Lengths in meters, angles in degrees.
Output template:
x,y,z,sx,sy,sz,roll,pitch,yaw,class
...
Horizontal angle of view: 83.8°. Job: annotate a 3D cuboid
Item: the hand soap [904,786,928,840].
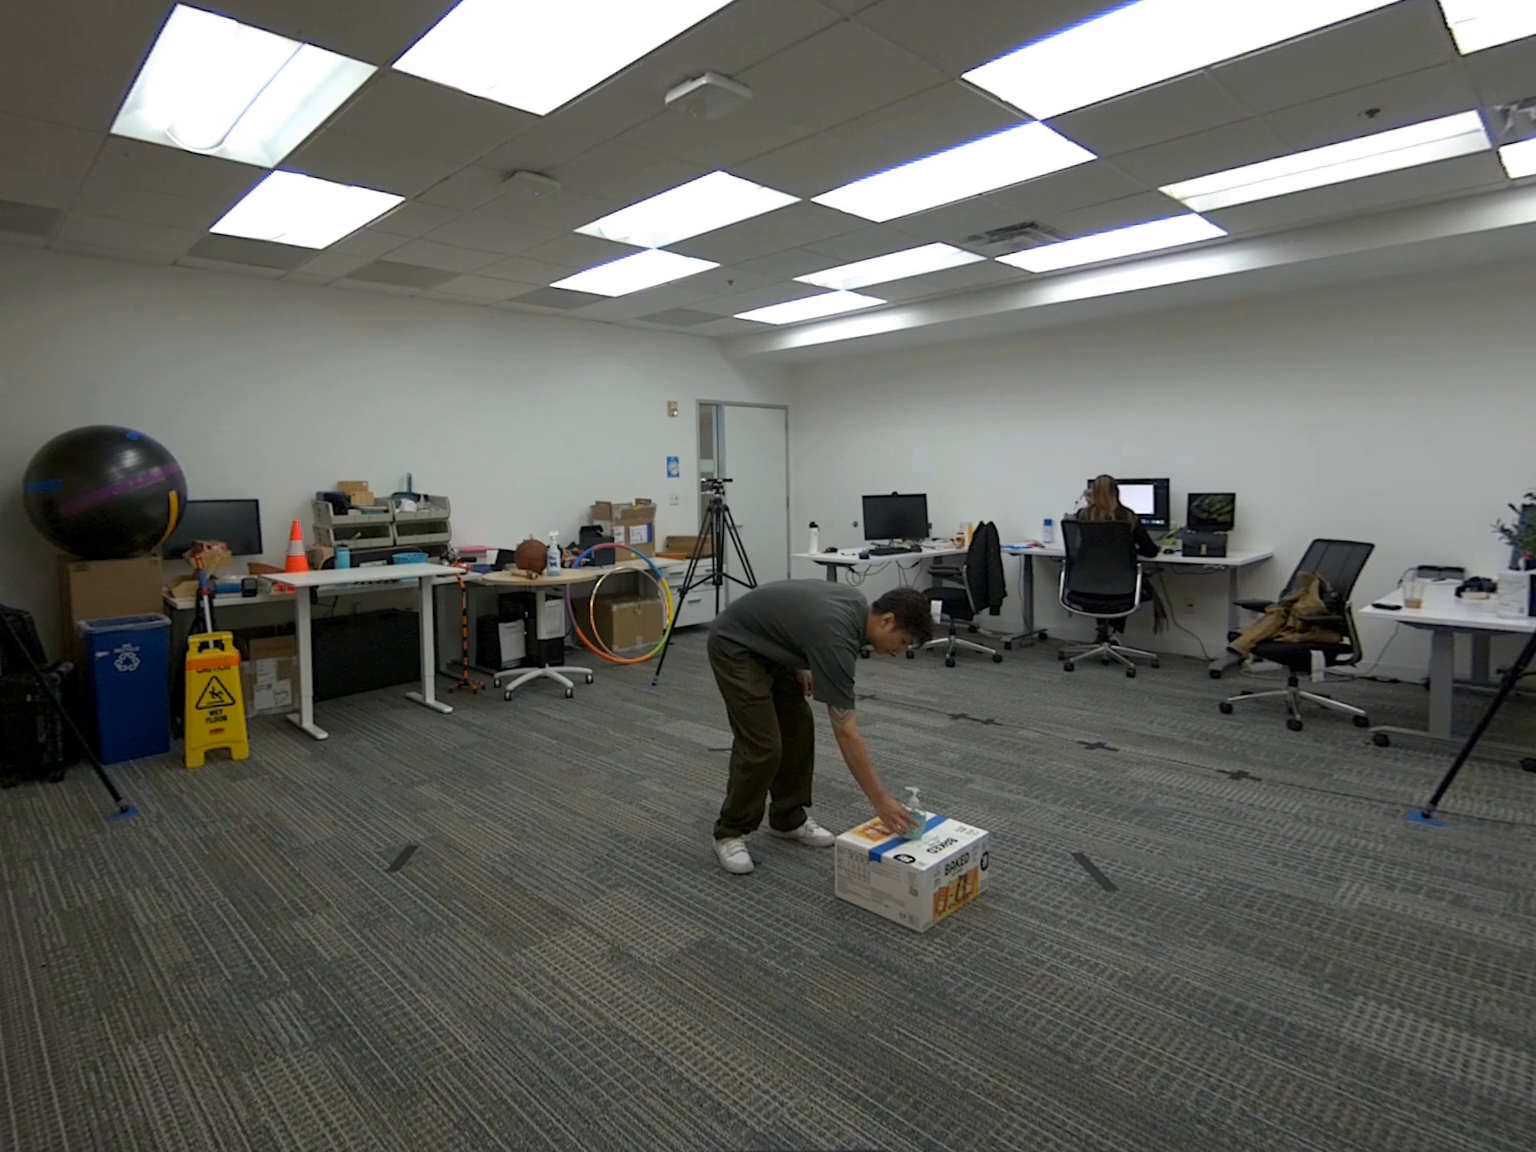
x,y,z,sx,sy,sz,roll,pitch,yaw,class
0.480,0.783,2.829,0.085,0.167,0.043,4,8,2,hand soap
